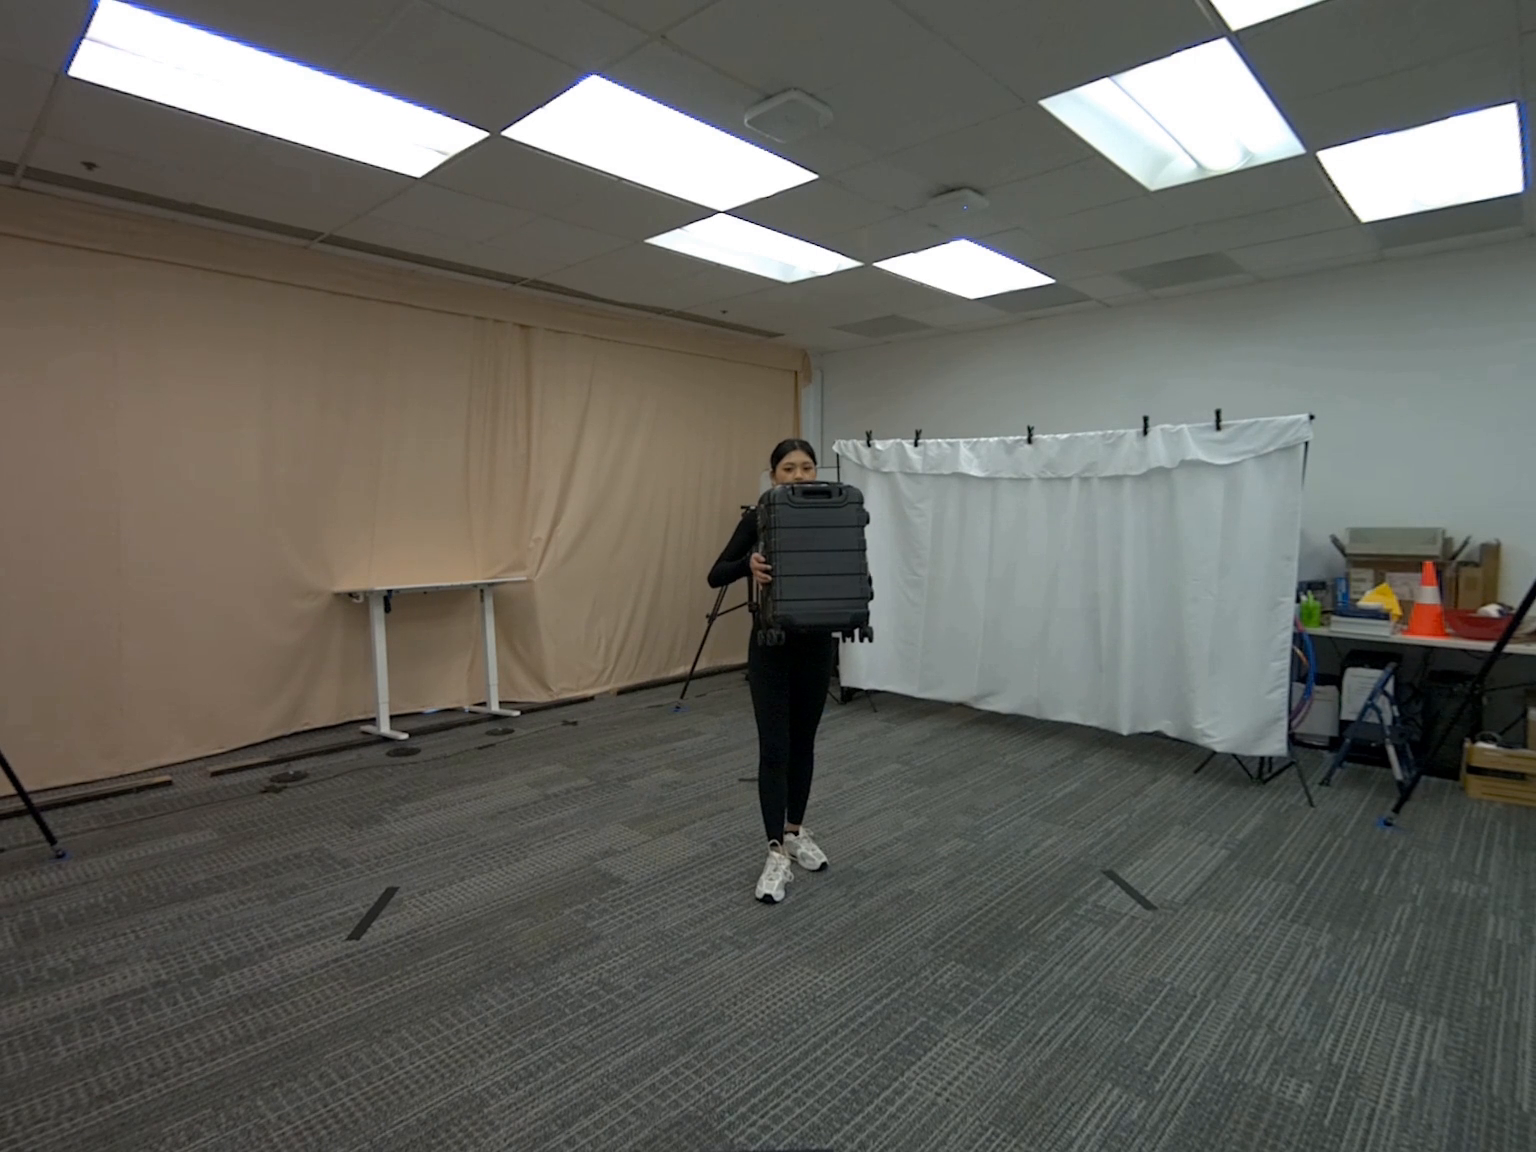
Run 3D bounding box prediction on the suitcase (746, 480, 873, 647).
[{"bbox_3d":[0.153,-0.047,2.909,0.373,0.551,0.249,-1,-6,-7],"label":"suitcase"}]
